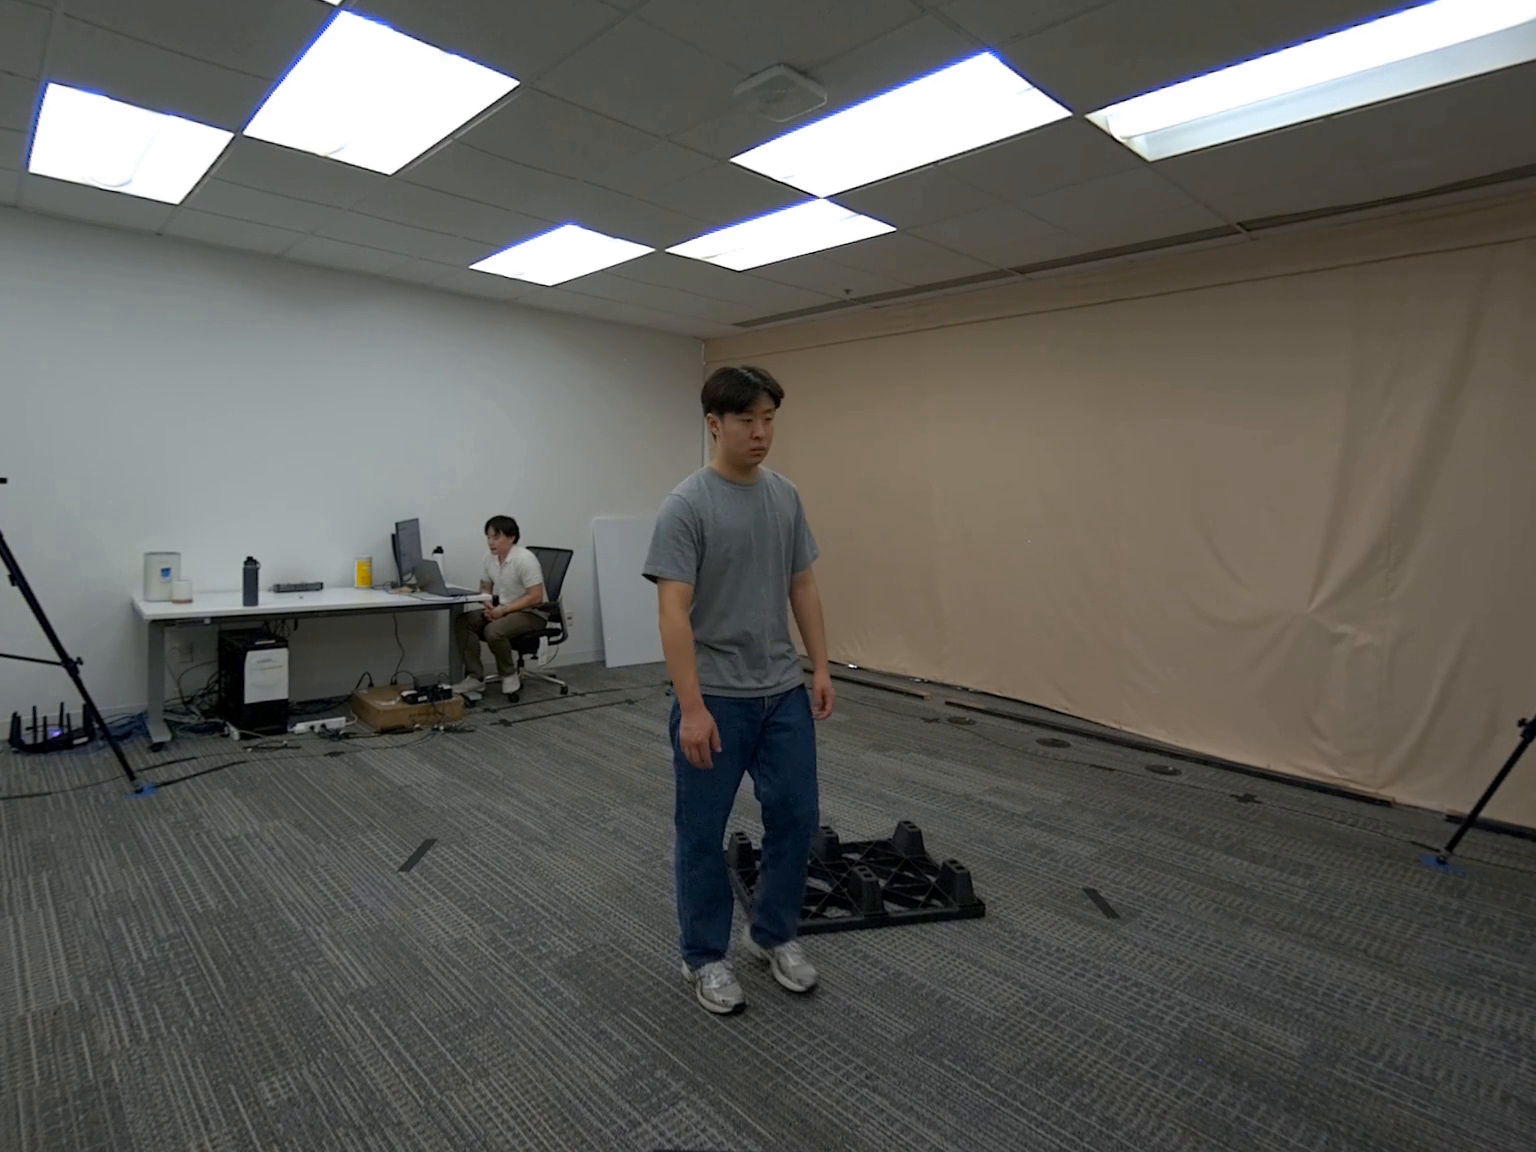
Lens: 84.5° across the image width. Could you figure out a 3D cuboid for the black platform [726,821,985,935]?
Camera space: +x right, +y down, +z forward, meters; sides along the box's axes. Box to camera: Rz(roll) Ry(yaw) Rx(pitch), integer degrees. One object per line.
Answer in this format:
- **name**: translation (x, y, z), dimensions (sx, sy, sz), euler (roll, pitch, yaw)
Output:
- **black platform**: translation (0.270, 1.052, 3.035), dimensions (0.796, 0.143, 0.614), euler (0, 6, -15)
